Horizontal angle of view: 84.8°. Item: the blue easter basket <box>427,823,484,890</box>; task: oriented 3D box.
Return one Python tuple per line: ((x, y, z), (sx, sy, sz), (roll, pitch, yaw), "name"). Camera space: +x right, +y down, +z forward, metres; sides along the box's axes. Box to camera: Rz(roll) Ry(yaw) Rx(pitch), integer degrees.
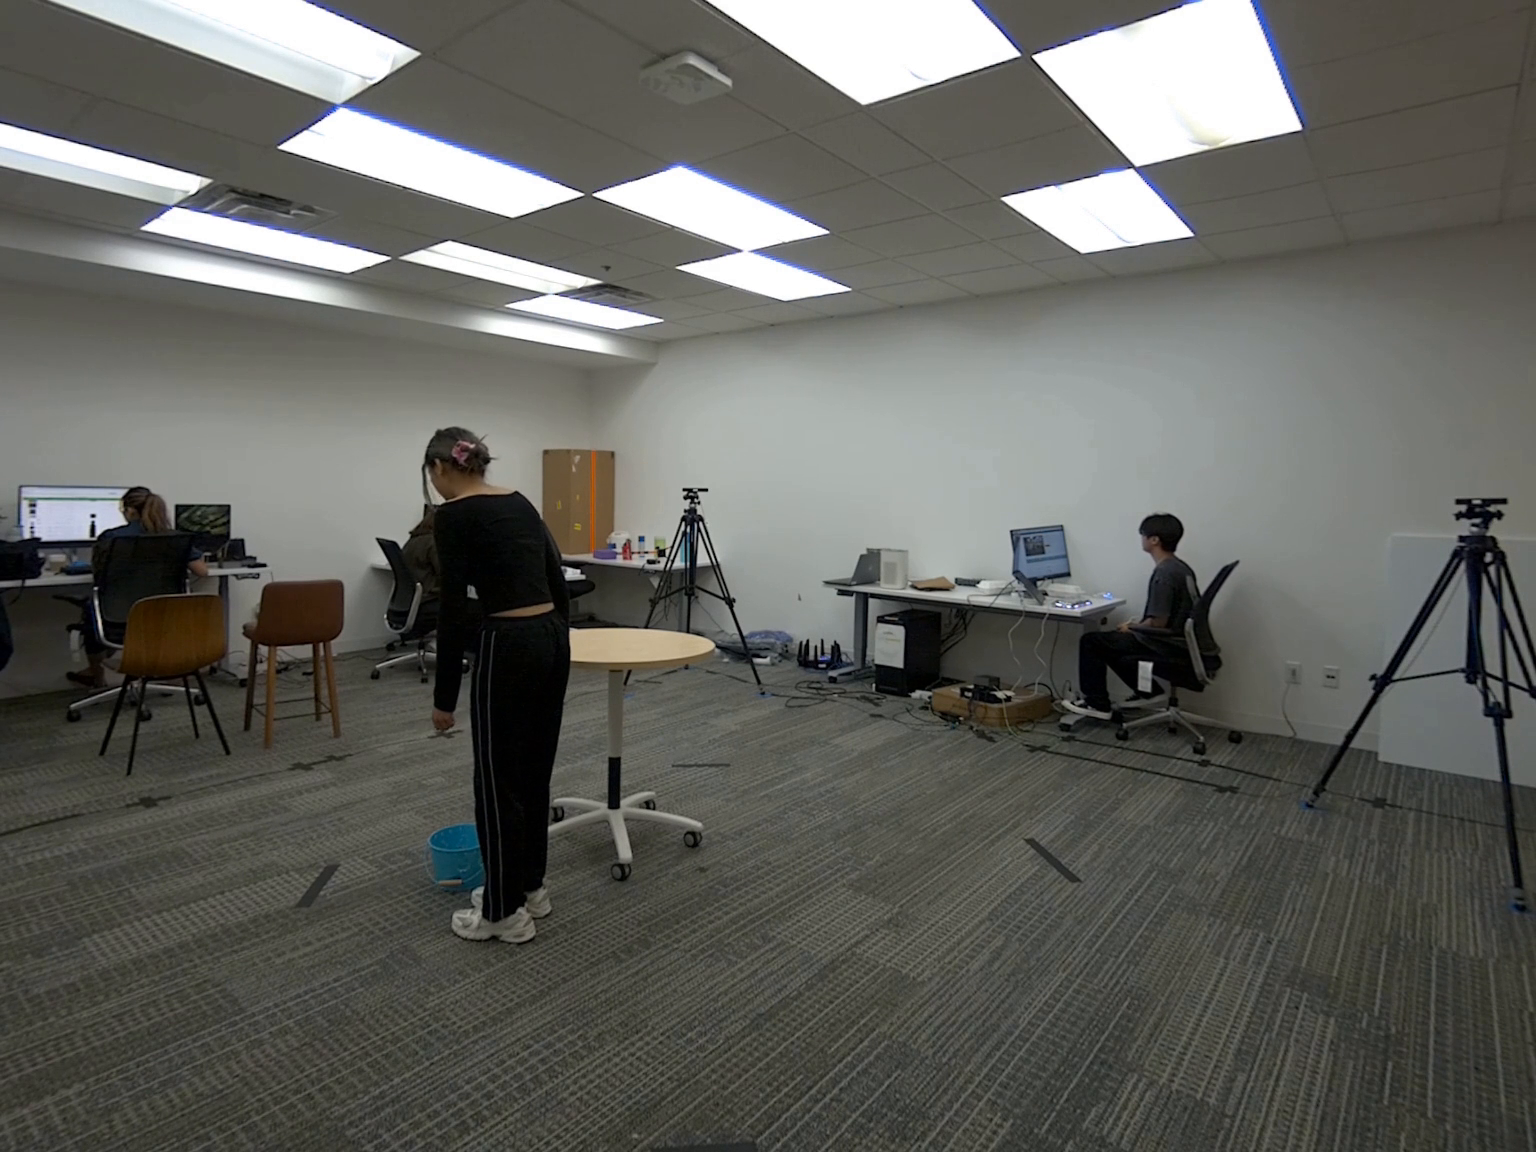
((-1.089, 0.988, 2.994), (0.243, 0.155, 0.245), (0, 5, -2), "blue easter basket")
